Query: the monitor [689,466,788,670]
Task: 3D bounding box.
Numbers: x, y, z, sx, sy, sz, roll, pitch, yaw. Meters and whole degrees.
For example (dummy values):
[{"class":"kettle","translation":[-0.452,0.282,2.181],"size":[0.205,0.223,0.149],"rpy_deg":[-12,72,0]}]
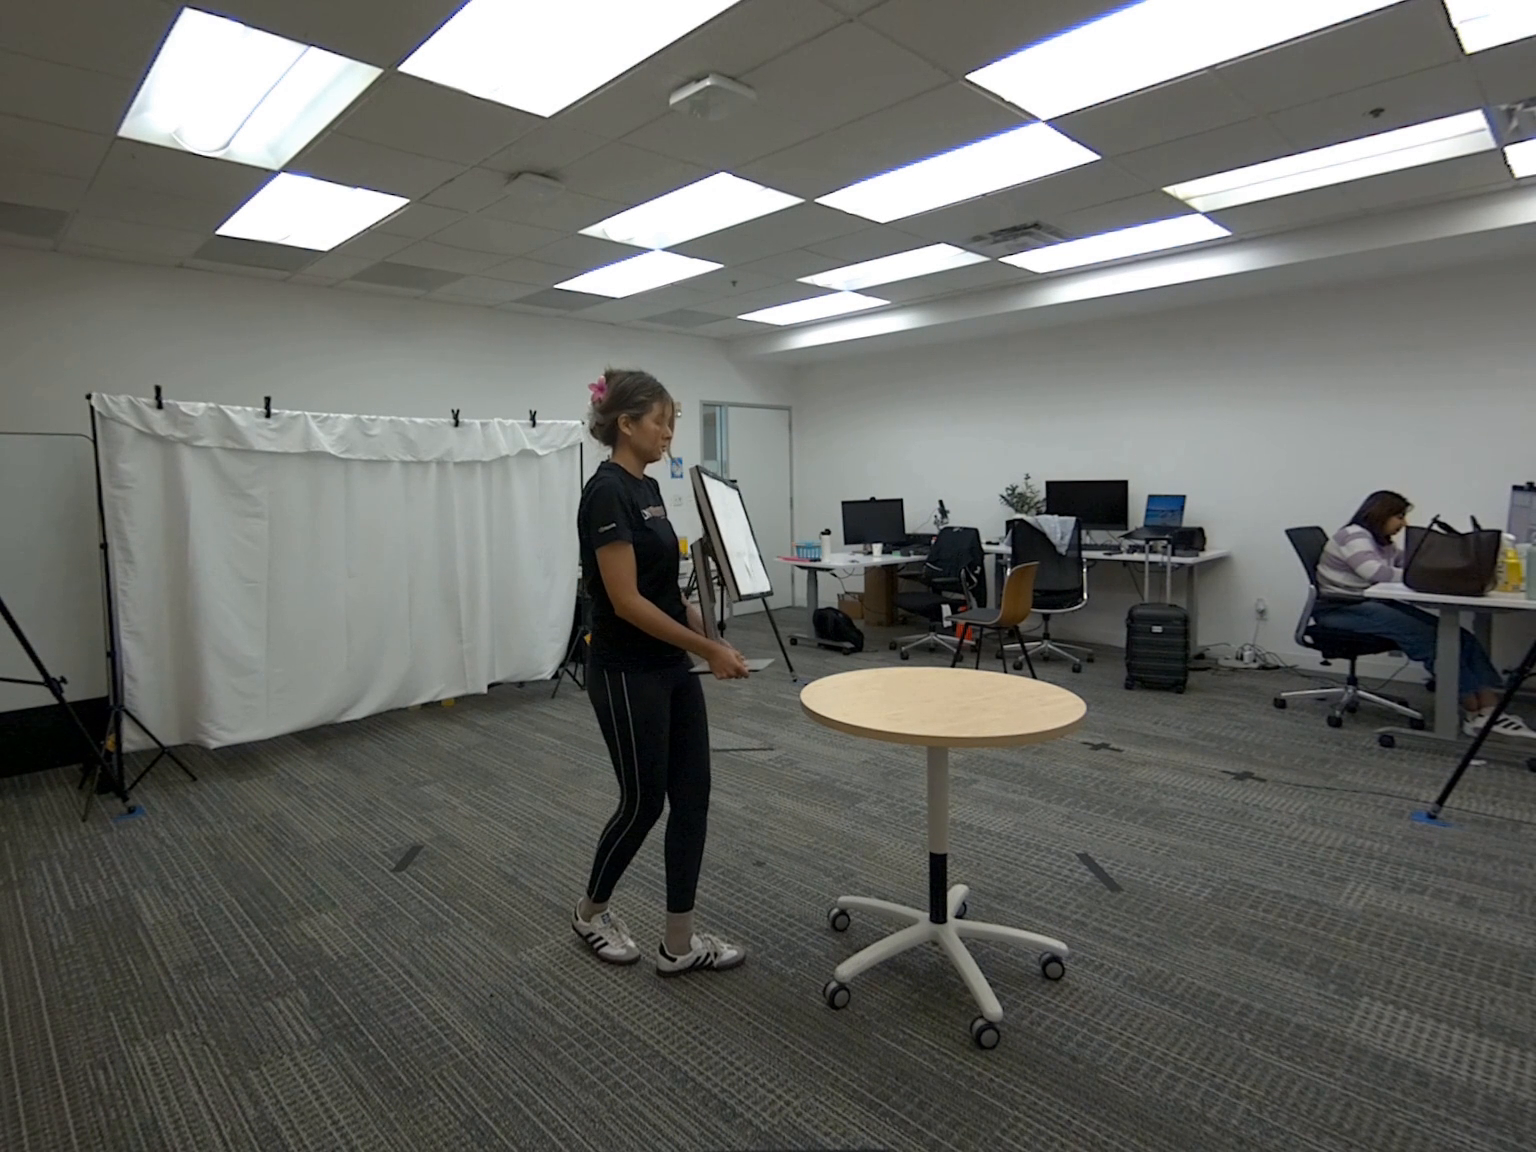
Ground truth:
[{"class":"monitor","translation":[-0.117,-0.006,2.409],"size":[0.188,0.525,0.533],"rpy_deg":[-6,-3,7]}]
